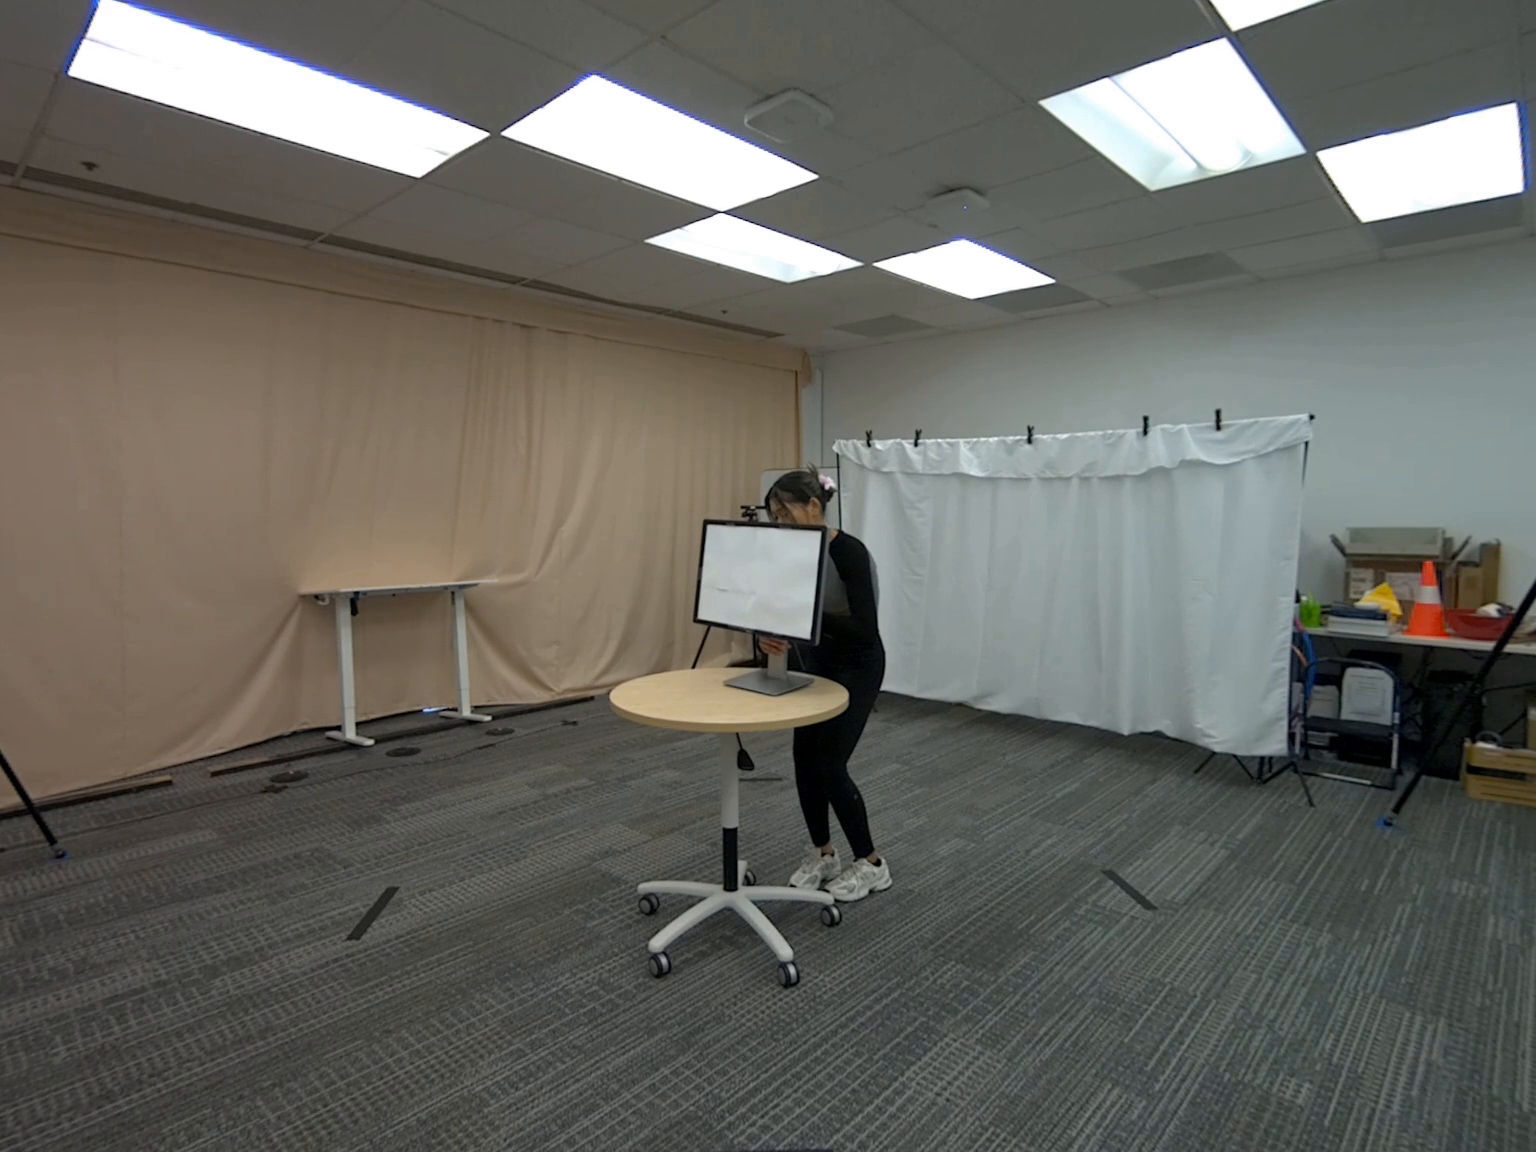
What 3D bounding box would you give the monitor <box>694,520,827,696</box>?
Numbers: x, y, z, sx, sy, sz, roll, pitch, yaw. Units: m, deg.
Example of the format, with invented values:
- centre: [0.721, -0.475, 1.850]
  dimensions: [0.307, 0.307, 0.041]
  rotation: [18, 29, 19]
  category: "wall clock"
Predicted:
- centre: [-0.006, 0.096, 2.767]
  dimensions: [0.557, 0.520, 0.182]
  rotation: [5, 11, 45]
  category: "monitor"
